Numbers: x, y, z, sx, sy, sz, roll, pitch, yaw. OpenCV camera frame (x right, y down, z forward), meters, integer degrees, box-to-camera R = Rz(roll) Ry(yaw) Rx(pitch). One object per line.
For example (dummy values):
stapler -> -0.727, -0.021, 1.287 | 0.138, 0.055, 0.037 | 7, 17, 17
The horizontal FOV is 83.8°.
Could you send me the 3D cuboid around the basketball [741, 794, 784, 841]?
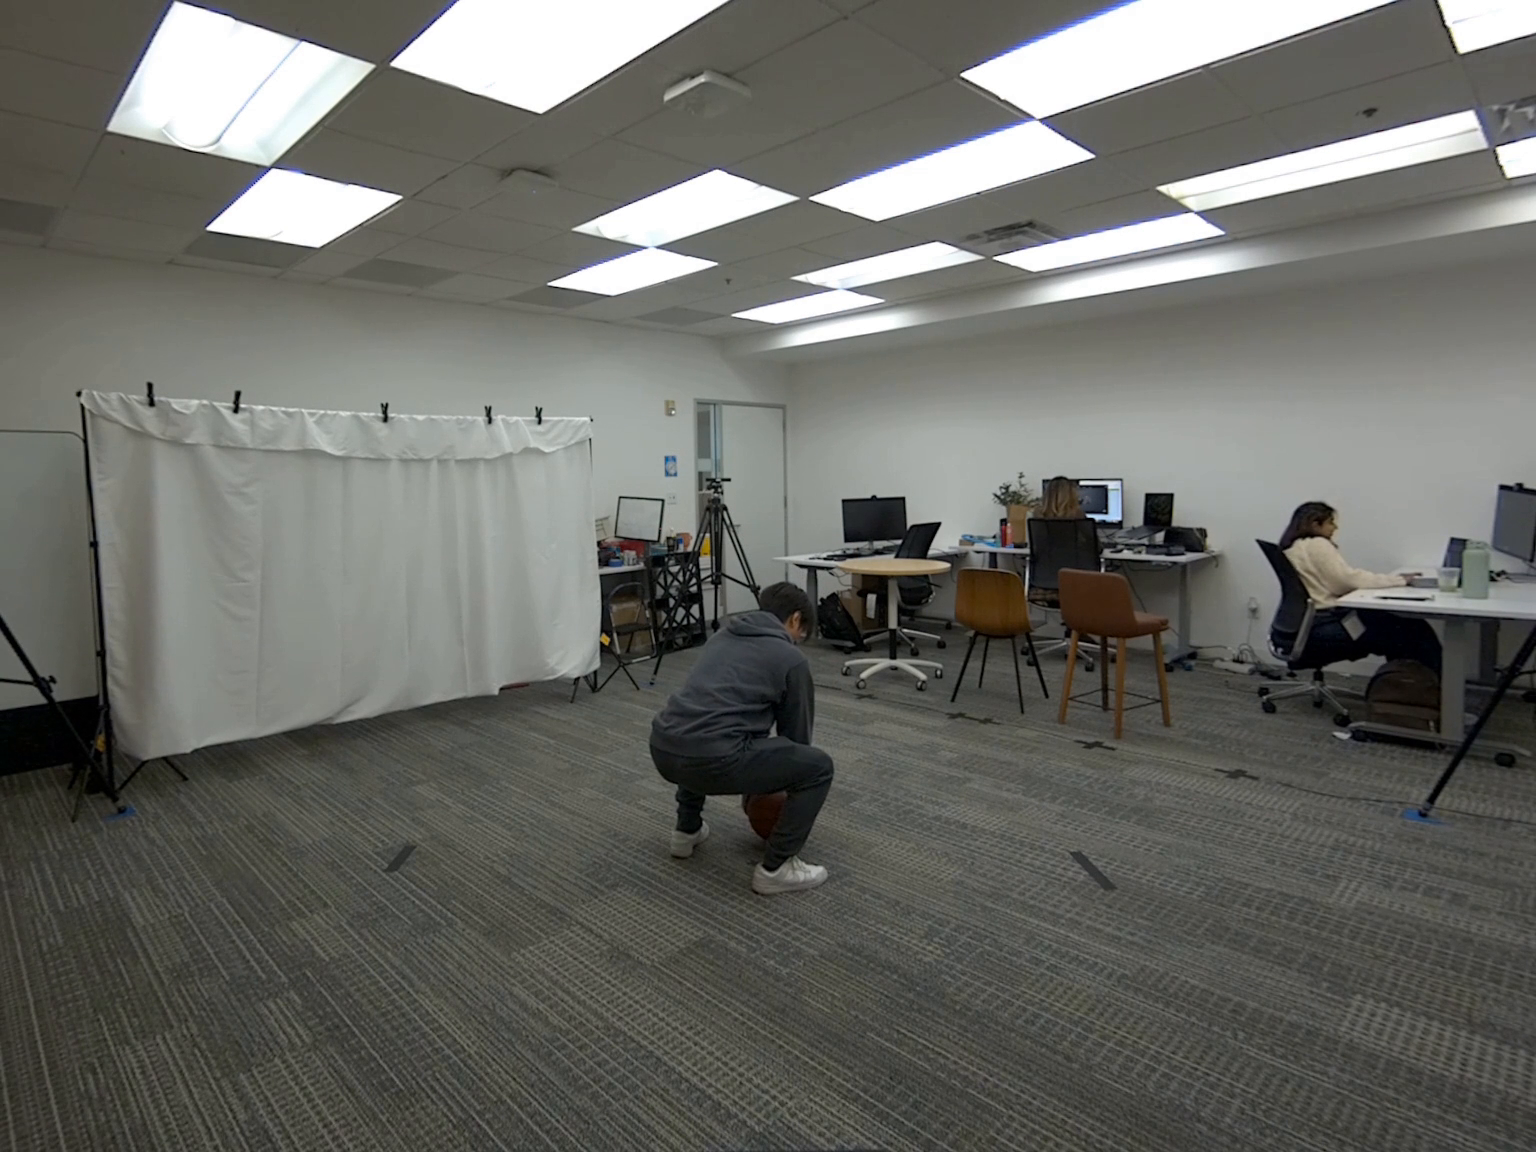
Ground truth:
basketball -> 0.047, 0.896, 3.282 | 0.236, 0.235, 0.237 | -1, 5, -2
